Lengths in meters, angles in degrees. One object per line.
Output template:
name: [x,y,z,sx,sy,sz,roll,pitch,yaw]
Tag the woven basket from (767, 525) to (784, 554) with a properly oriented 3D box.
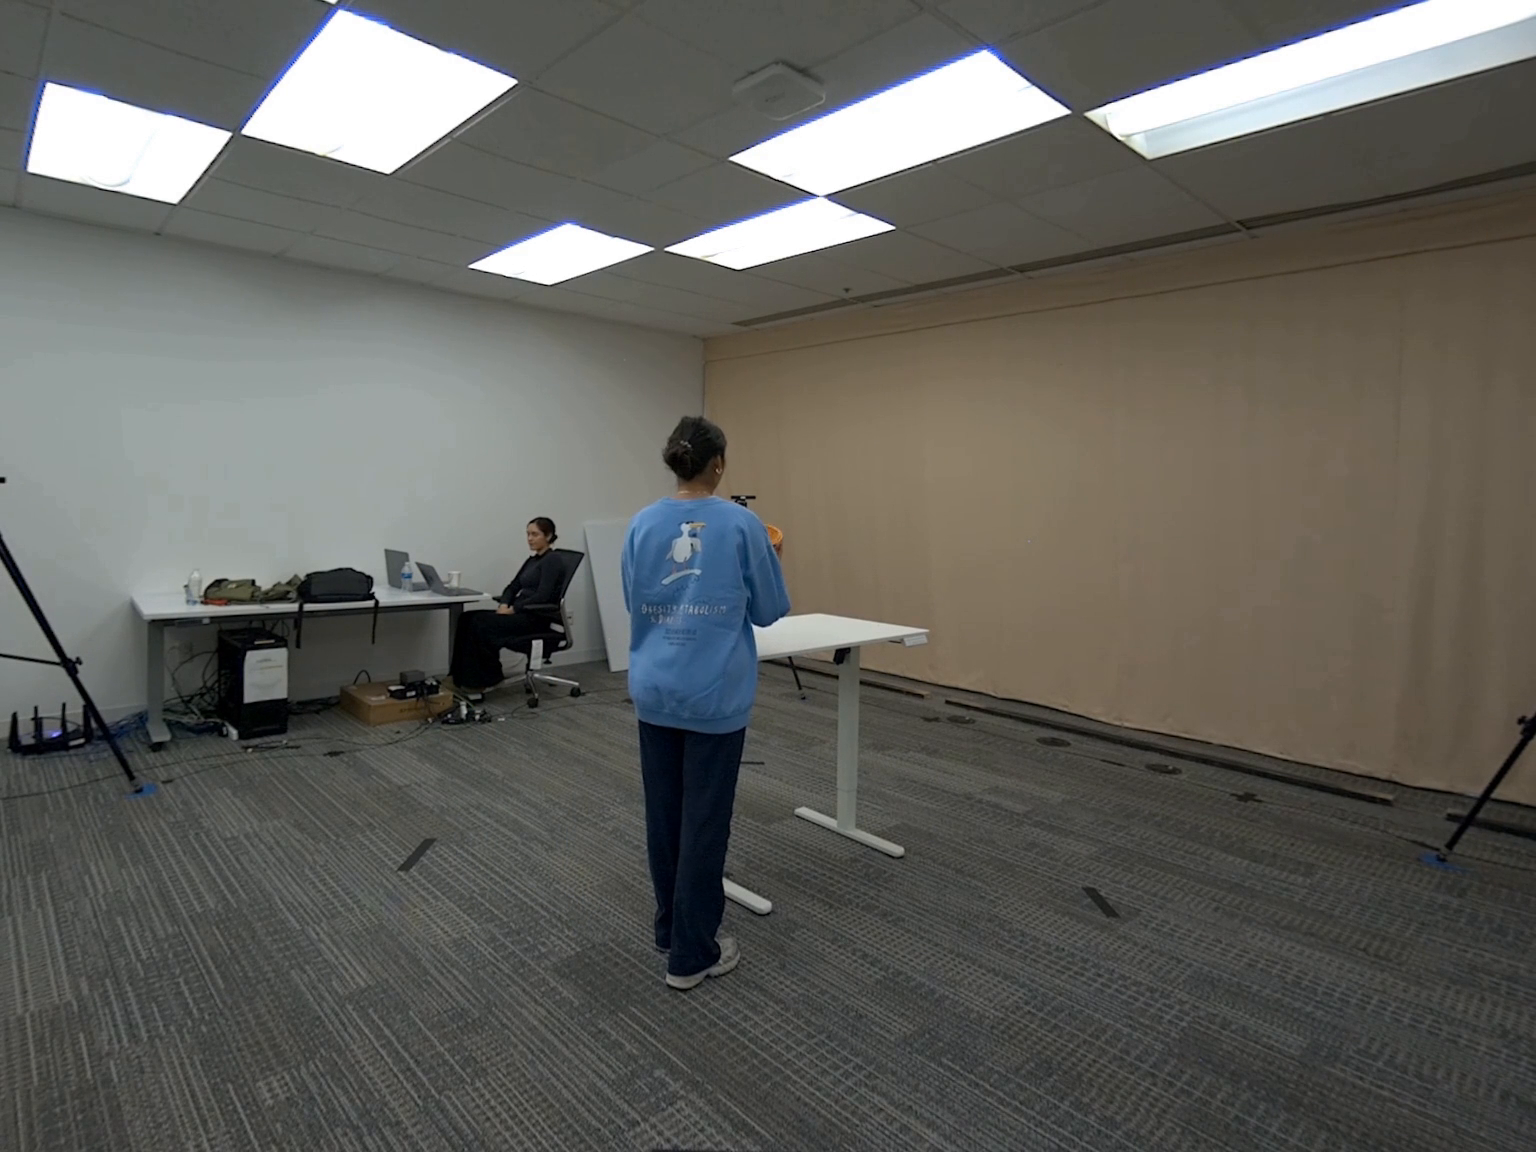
woven basket: [-0.120,-0.088,2.853,0.349,0.072,0.258,-3,25,-6]
